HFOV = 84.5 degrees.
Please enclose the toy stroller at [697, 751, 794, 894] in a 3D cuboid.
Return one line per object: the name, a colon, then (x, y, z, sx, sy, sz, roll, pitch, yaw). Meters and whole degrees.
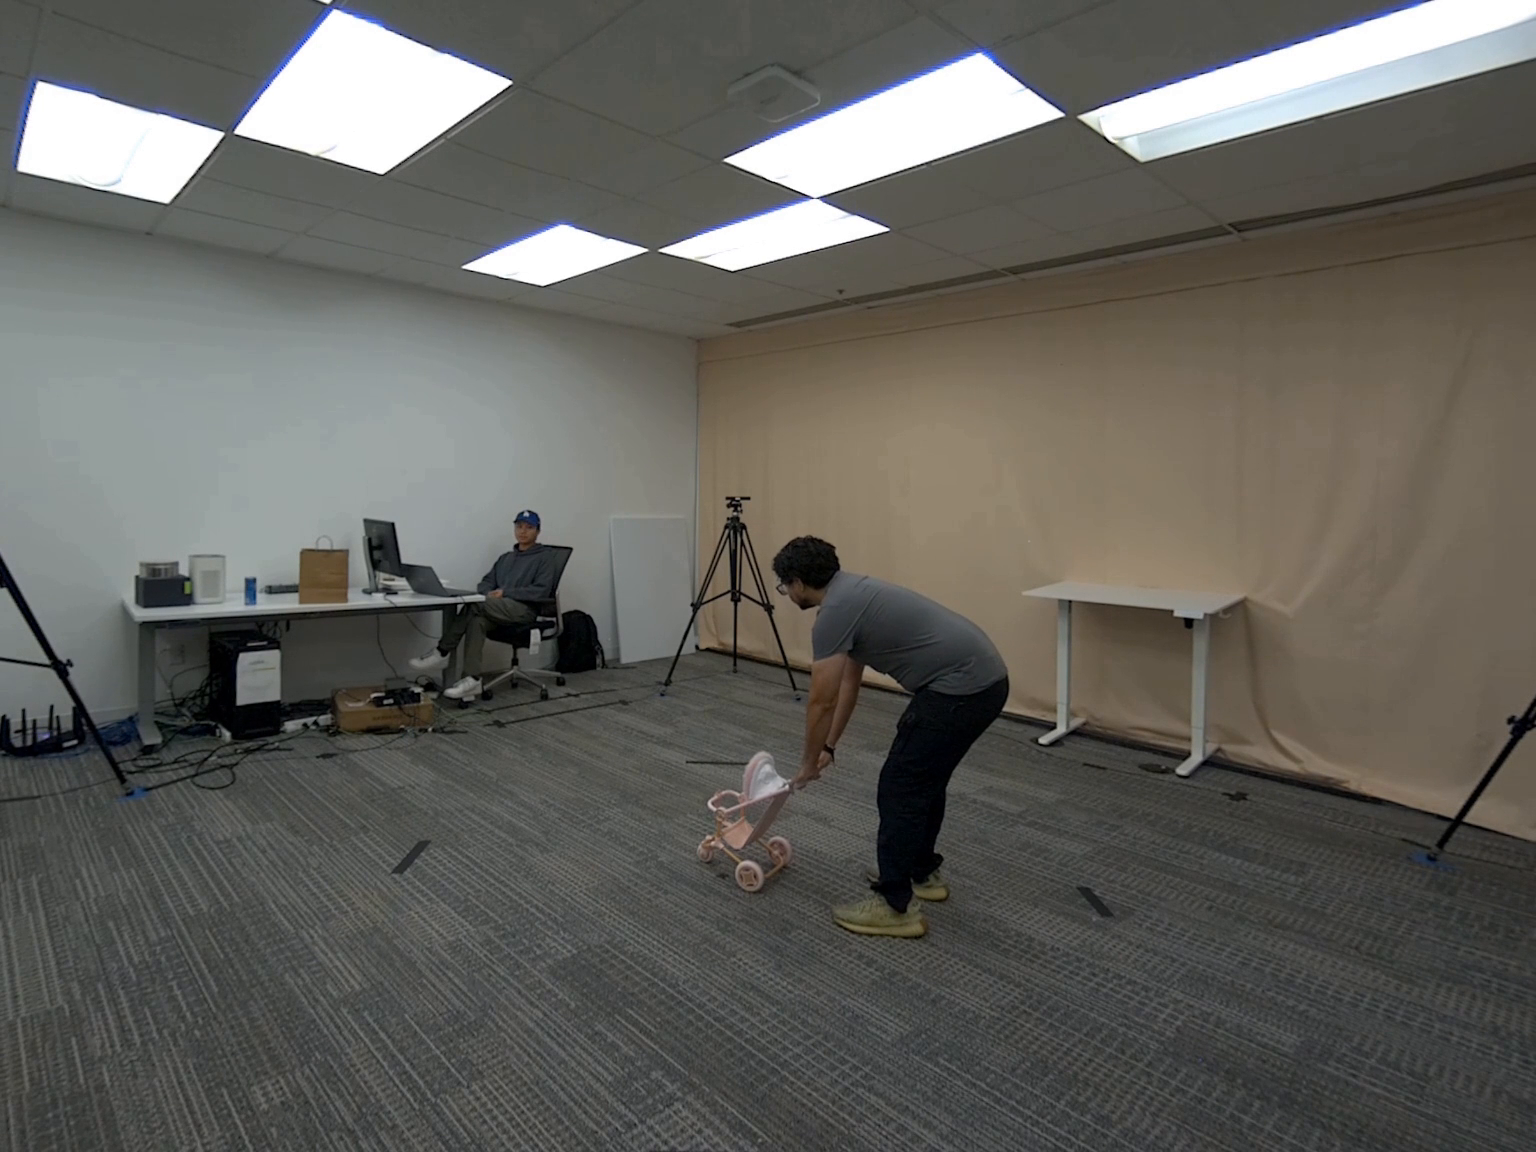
toy stroller: (-0.066, 0.886, 3.117, 0.350, 0.532, 0.275, 24, 14, 29)
